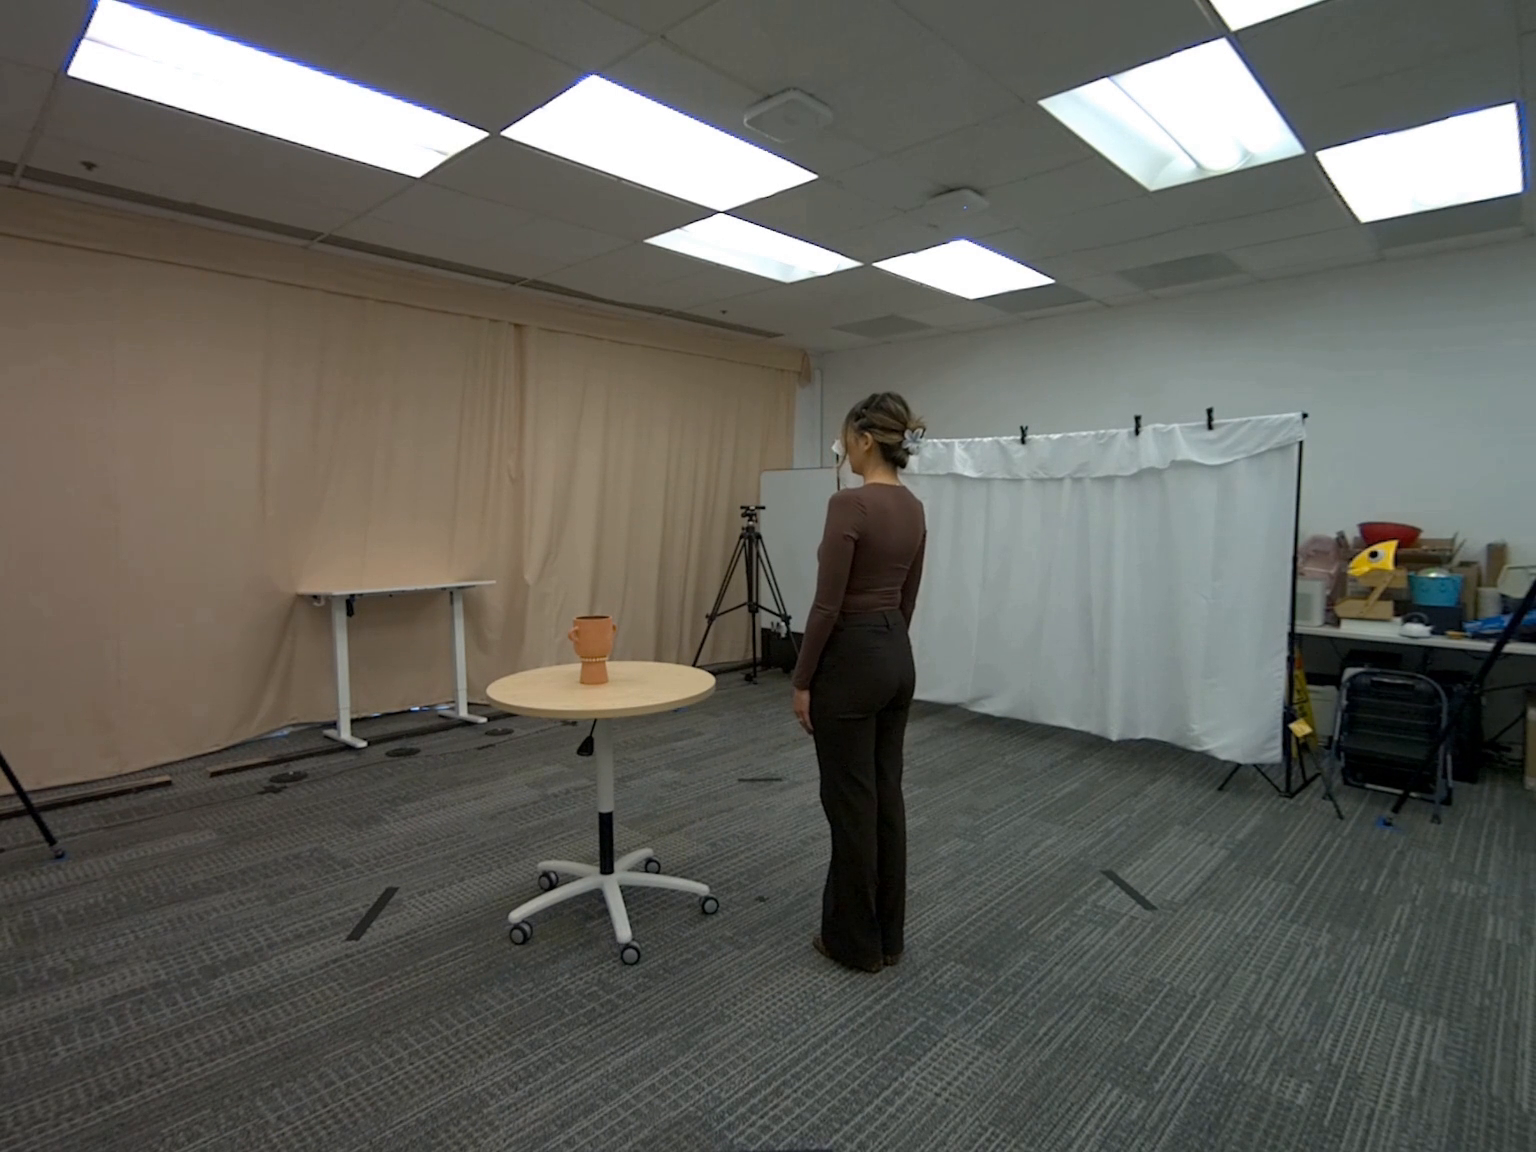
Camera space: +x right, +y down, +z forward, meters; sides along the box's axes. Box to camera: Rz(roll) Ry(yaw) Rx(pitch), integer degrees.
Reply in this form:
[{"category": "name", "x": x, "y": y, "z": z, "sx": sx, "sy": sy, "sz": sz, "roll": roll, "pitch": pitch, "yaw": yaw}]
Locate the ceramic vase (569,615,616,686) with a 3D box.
[{"category": "ceramic vase", "x": -0.600, "y": 0.256, "z": 2.851, "sx": 0.158, "sy": 0.219, "sz": 0.136, "roll": -2, "pitch": 3, "yaw": -8}]
